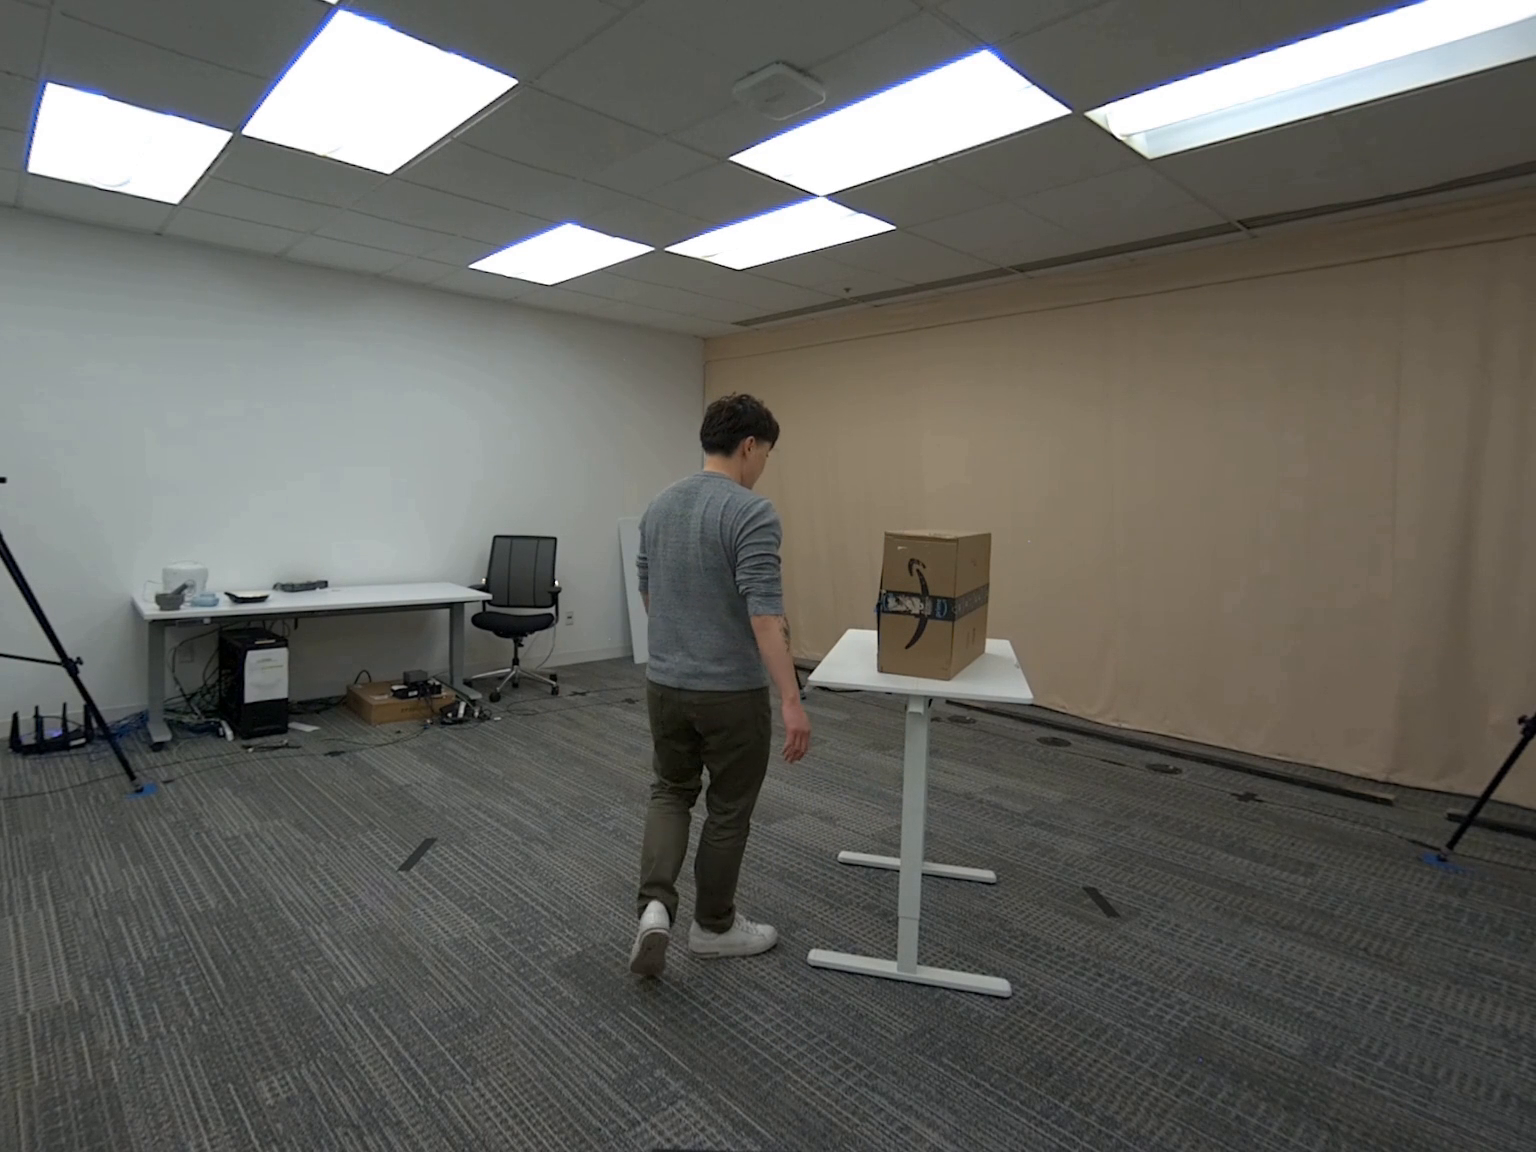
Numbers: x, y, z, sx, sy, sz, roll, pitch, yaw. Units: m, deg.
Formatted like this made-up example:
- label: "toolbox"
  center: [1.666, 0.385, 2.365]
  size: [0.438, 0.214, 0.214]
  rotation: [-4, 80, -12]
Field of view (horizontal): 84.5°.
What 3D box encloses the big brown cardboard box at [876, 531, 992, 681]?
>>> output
- label: "big brown cardboard box"
  center: [0.535, 0.072, 2.676]
  size: [0.238, 0.416, 0.579]
  rotation: [5, 5, 25]
